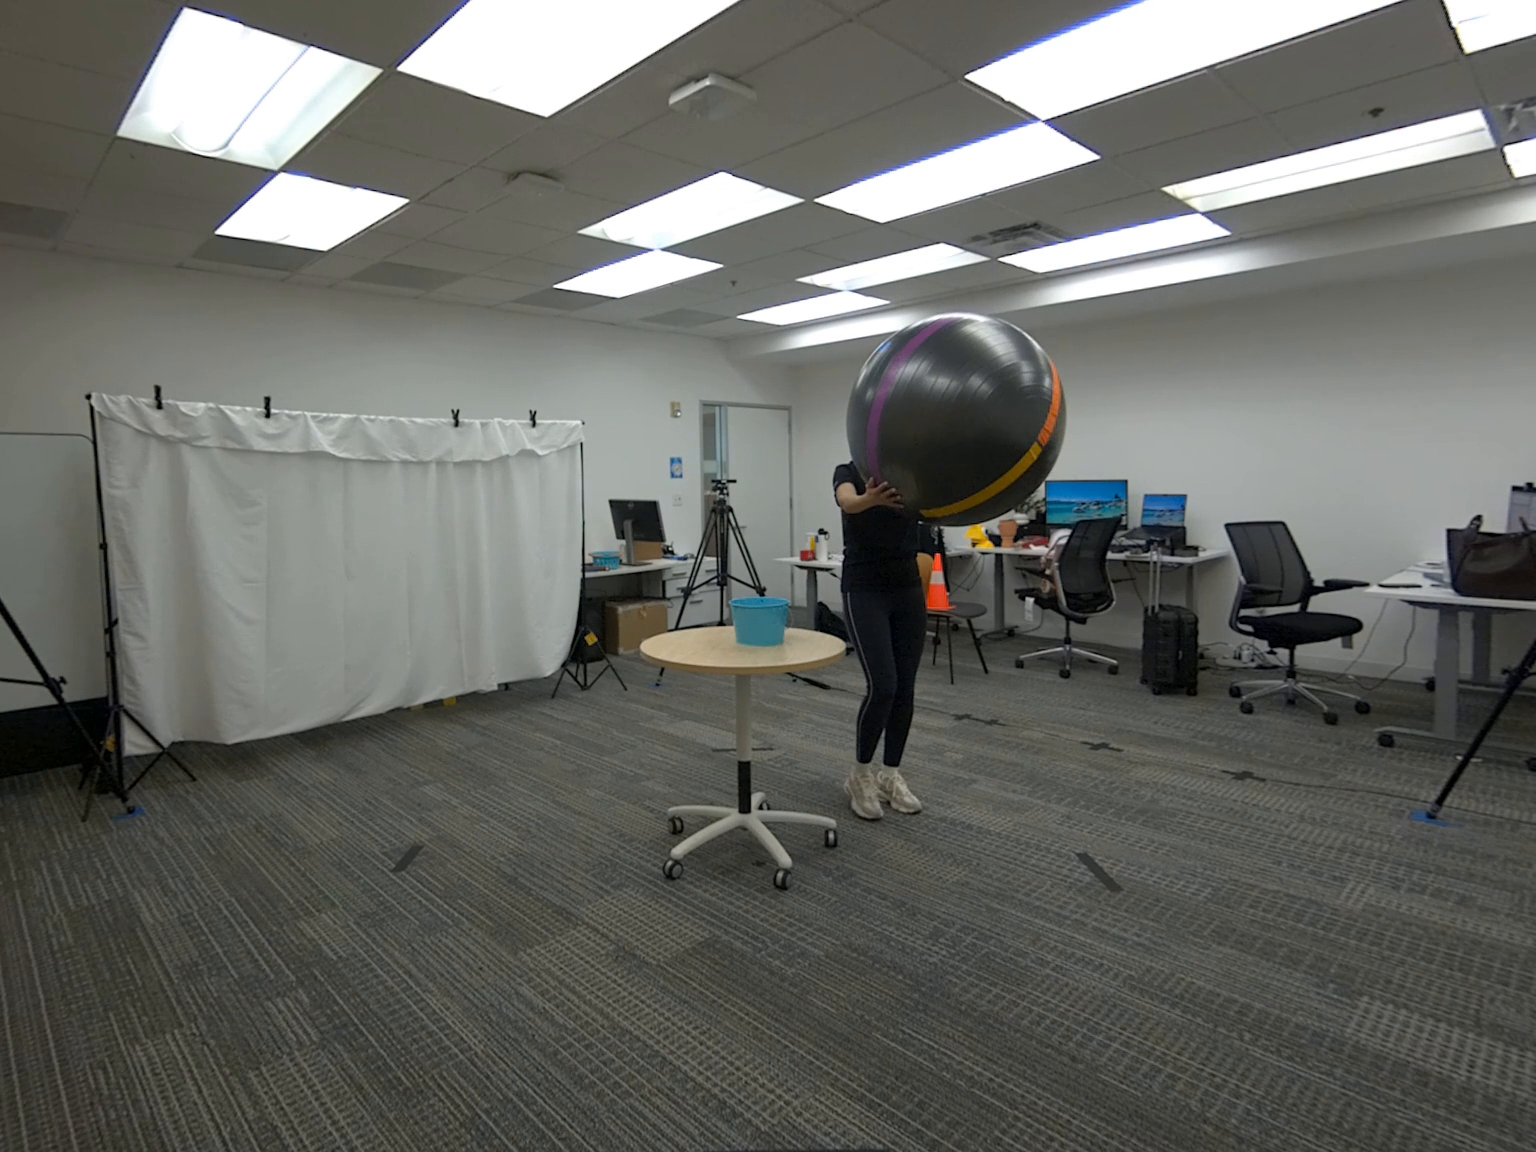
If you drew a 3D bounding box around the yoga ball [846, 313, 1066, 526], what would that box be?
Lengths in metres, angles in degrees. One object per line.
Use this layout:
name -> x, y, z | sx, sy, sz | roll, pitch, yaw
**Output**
yoga ball -> 0.666, -0.549, 3.062 | 0.757, 0.755, 0.762 | -1, 5, -2
